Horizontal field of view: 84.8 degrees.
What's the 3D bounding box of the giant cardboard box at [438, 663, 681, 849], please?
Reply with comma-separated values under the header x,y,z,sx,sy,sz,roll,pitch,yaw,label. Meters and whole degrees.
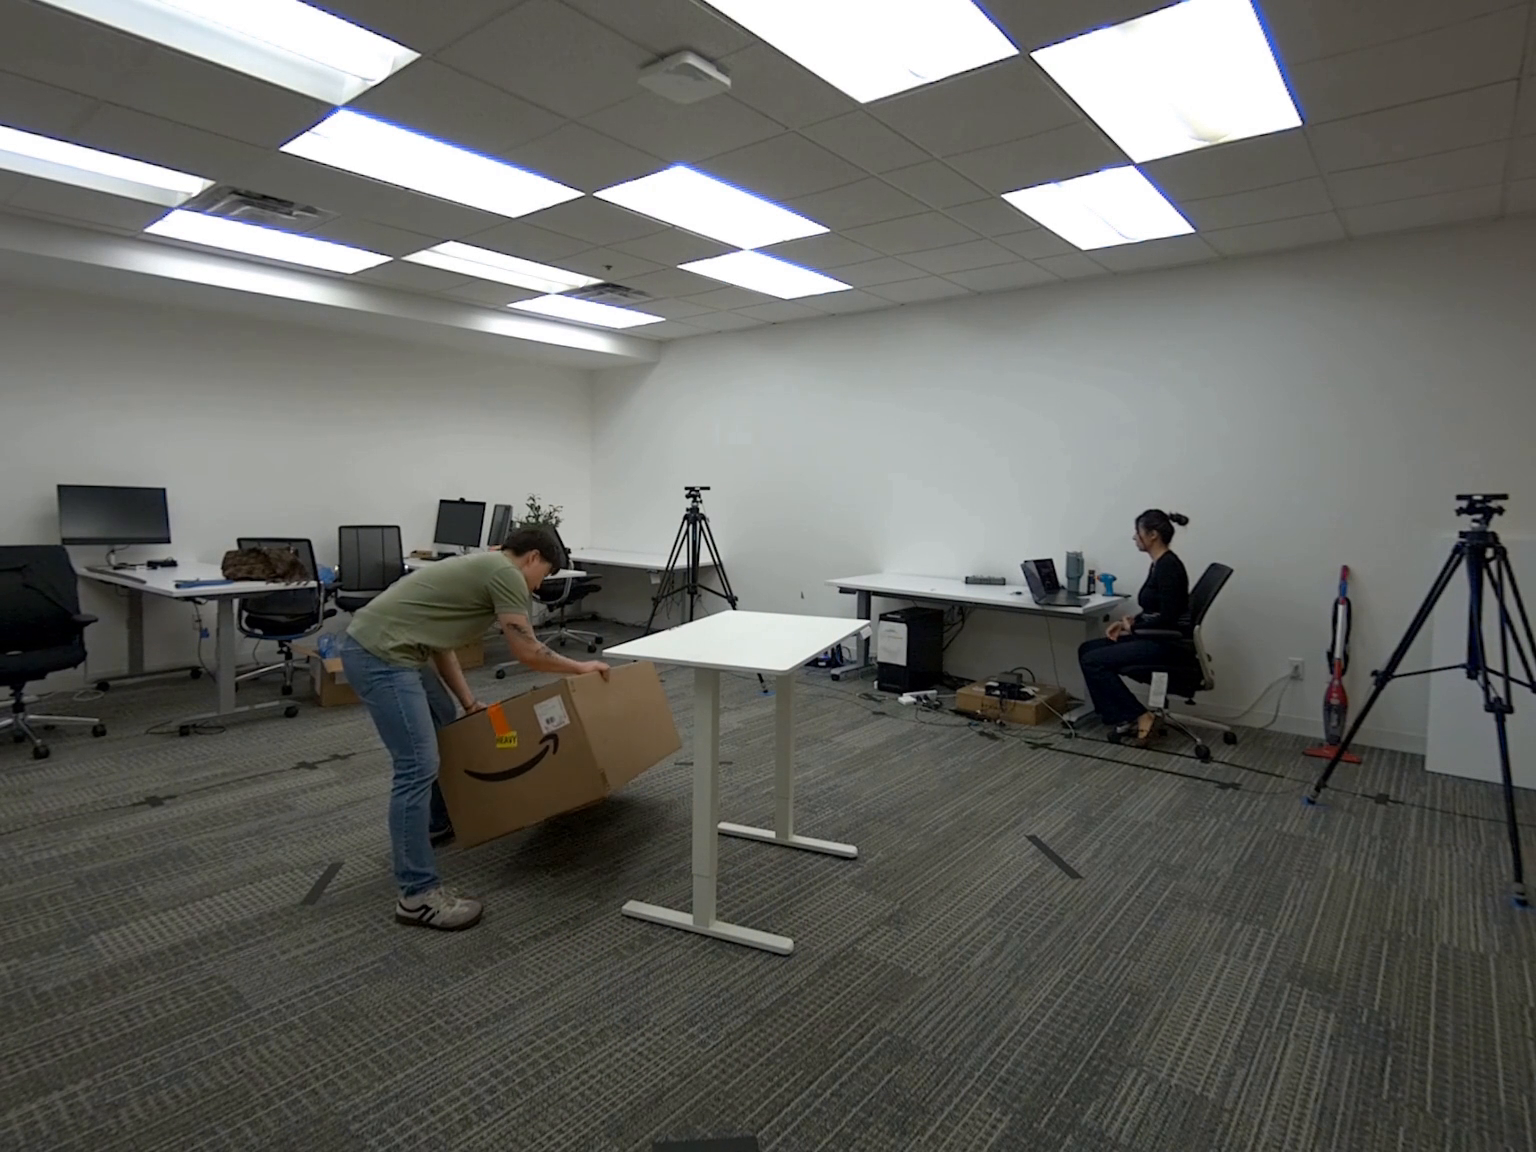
x,y,z,sx,sy,sz,roll,pitch,yaw,label
-0.810,0.656,3.407,0.580,0.430,1.012,-22,-5,8,giant cardboard box
